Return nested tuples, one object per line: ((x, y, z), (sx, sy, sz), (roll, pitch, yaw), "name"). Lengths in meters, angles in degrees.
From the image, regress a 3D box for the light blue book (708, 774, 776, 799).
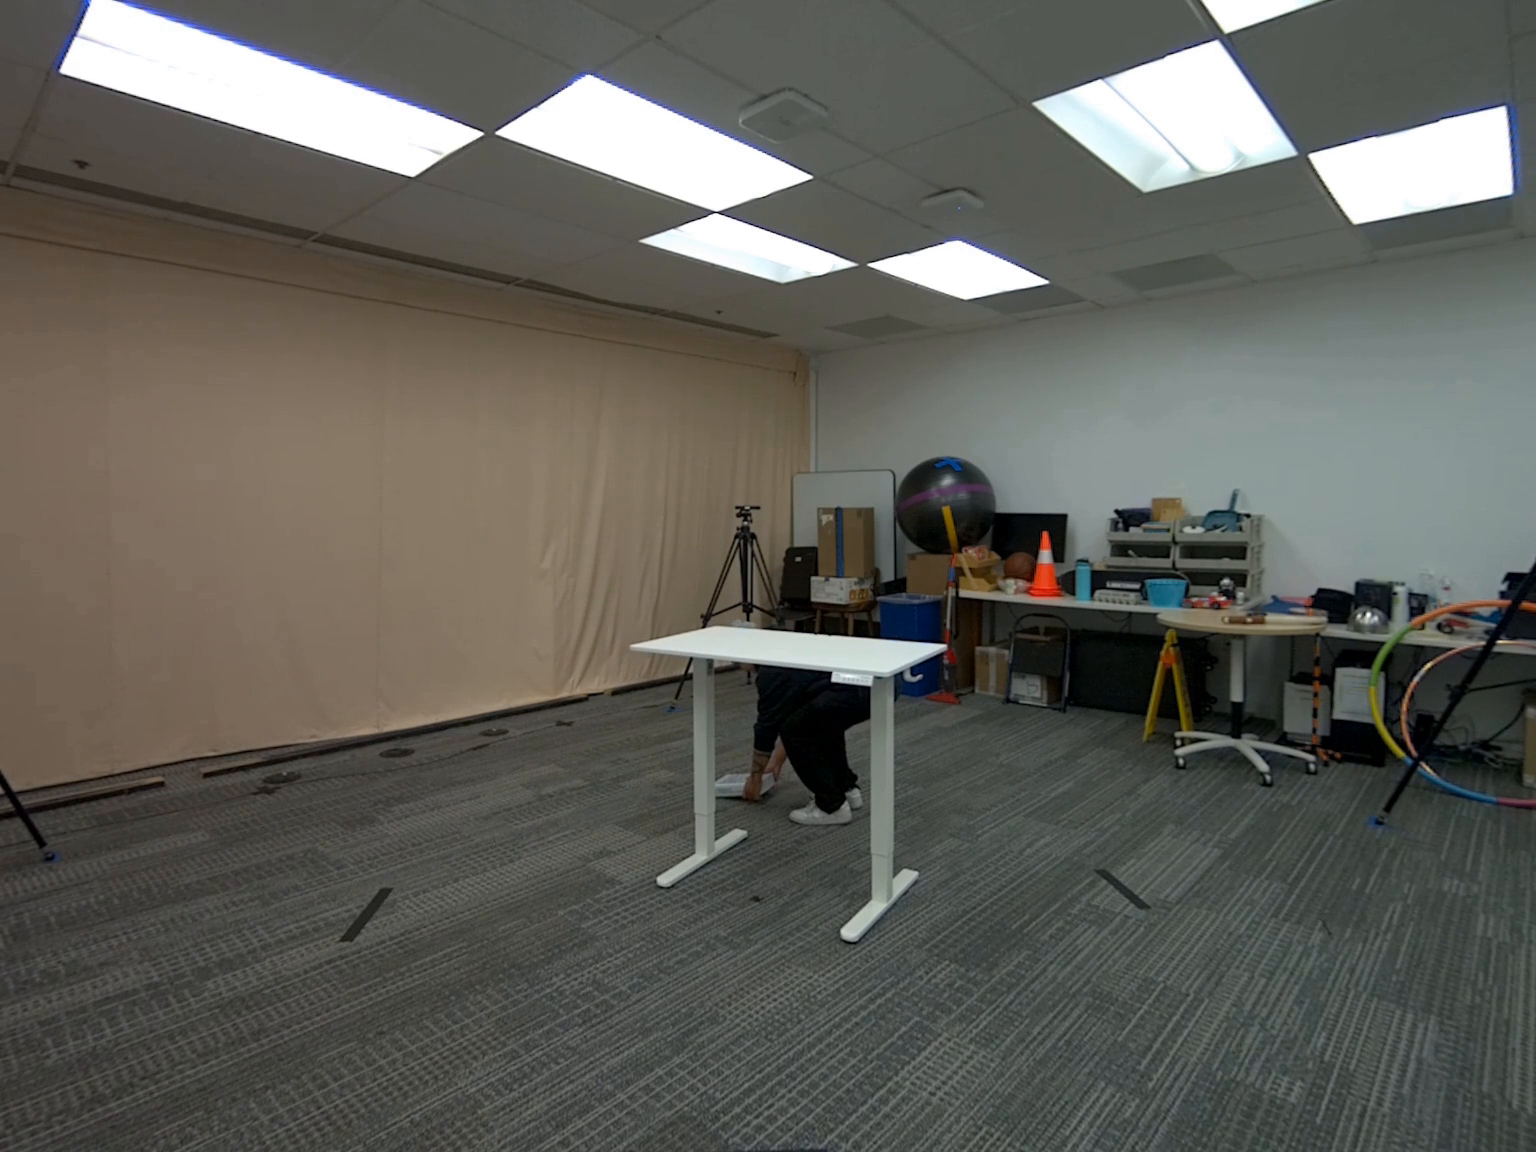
((-0.127, 1.005, 4.068), (0.267, 0.059, 0.187), (-8, 0, 27), "light blue book")
